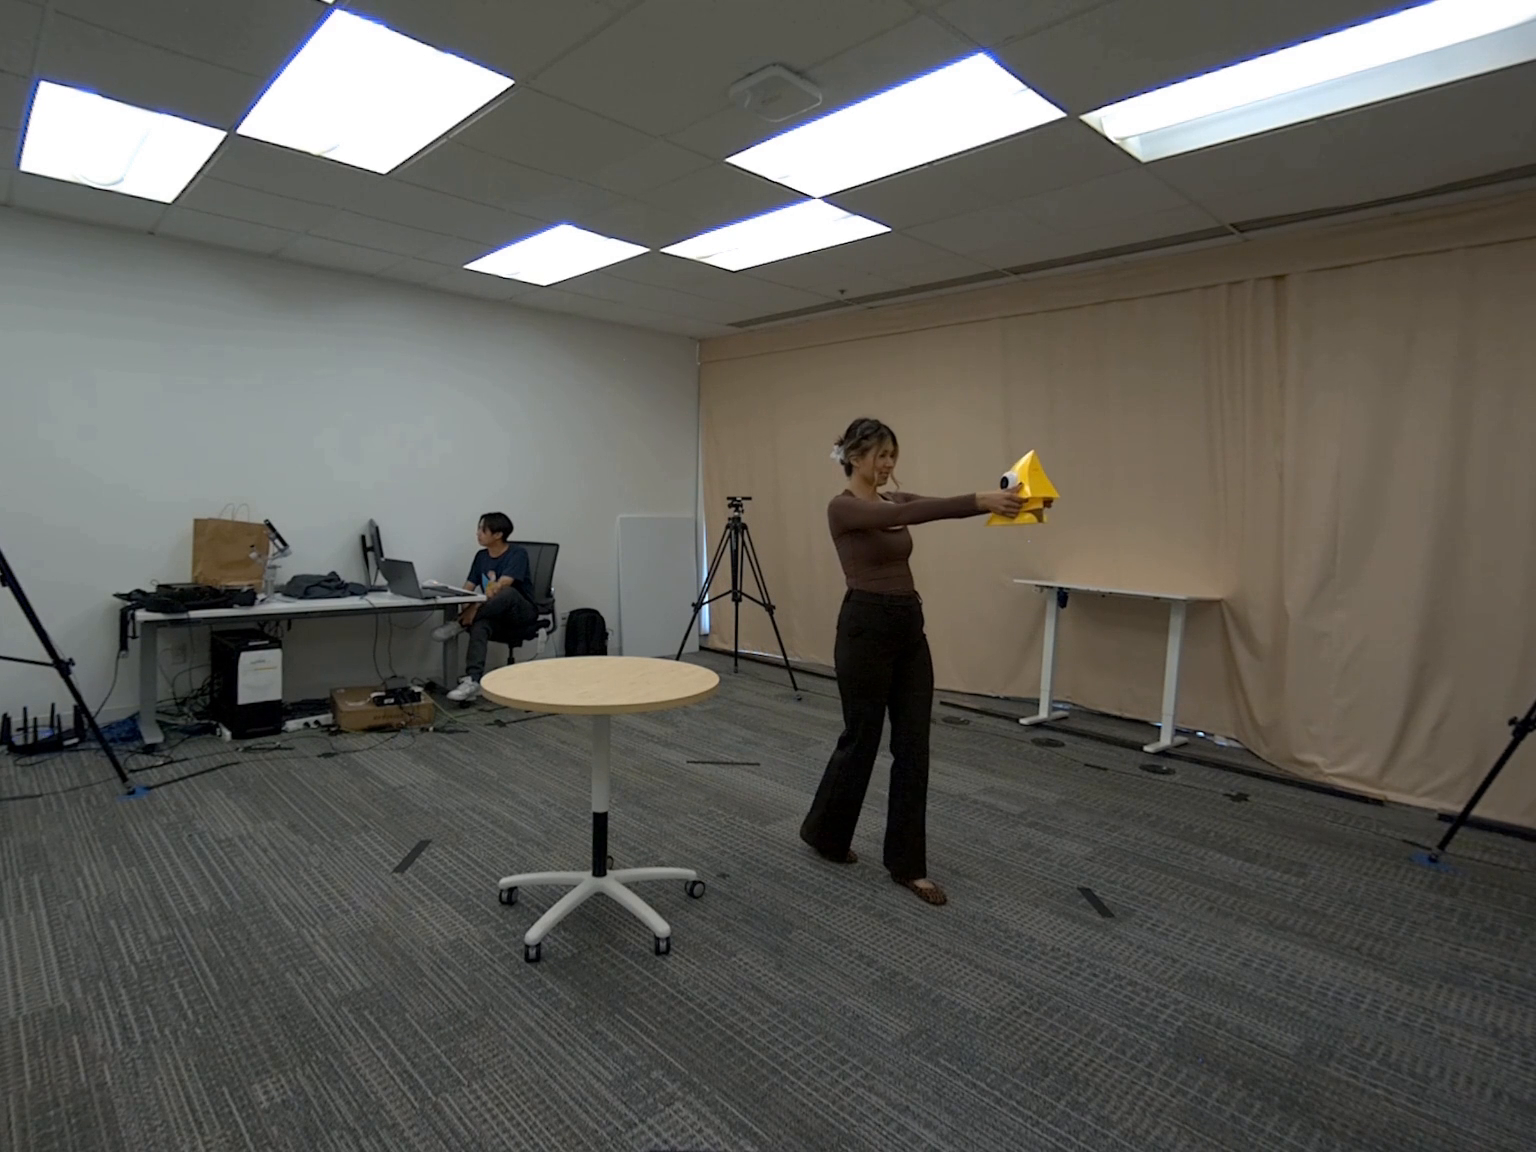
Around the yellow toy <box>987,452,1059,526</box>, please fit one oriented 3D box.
[{"bbox_3d":[0.791,-0.282,2.700,0.197,0.231,0.200,-3,0,44],"label":"yellow toy"}]
